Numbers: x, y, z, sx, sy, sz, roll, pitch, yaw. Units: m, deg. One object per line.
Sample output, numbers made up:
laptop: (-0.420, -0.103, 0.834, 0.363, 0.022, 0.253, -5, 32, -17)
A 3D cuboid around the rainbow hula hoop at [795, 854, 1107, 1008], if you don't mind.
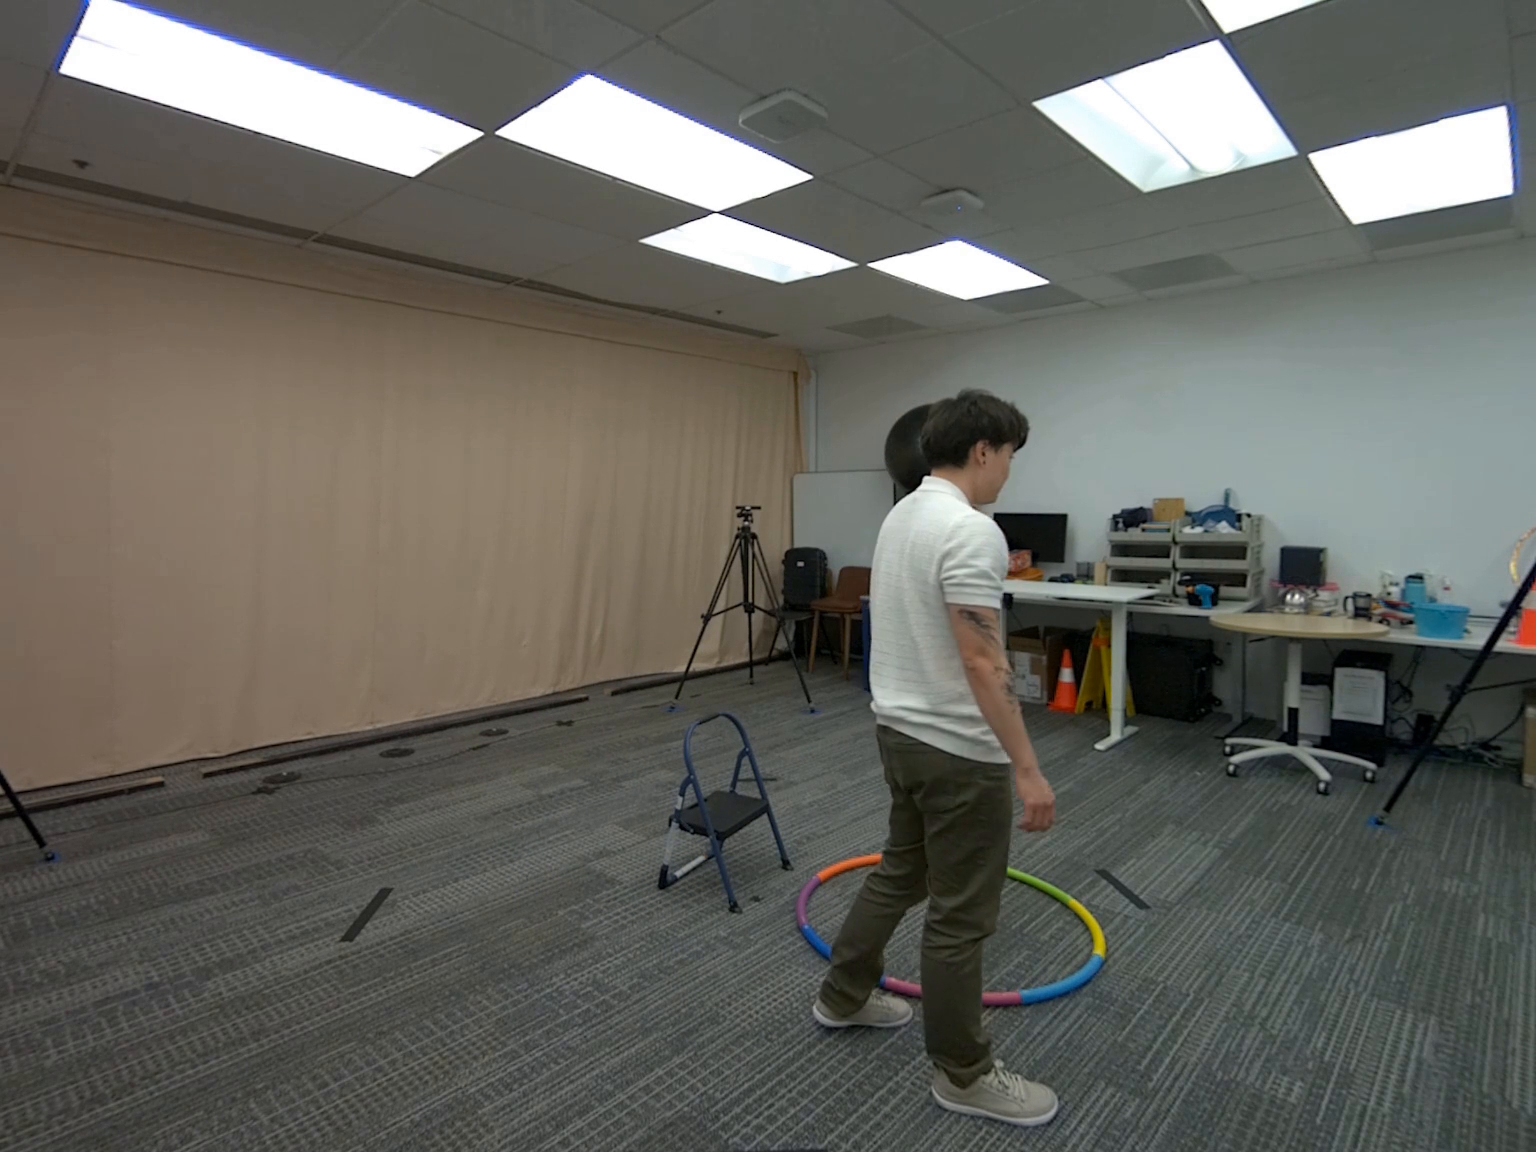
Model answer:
rainbow hula hoop: (0.590, 1.124, 2.817, 0.978, 0.035, 0.982, 0, 5, -2)
